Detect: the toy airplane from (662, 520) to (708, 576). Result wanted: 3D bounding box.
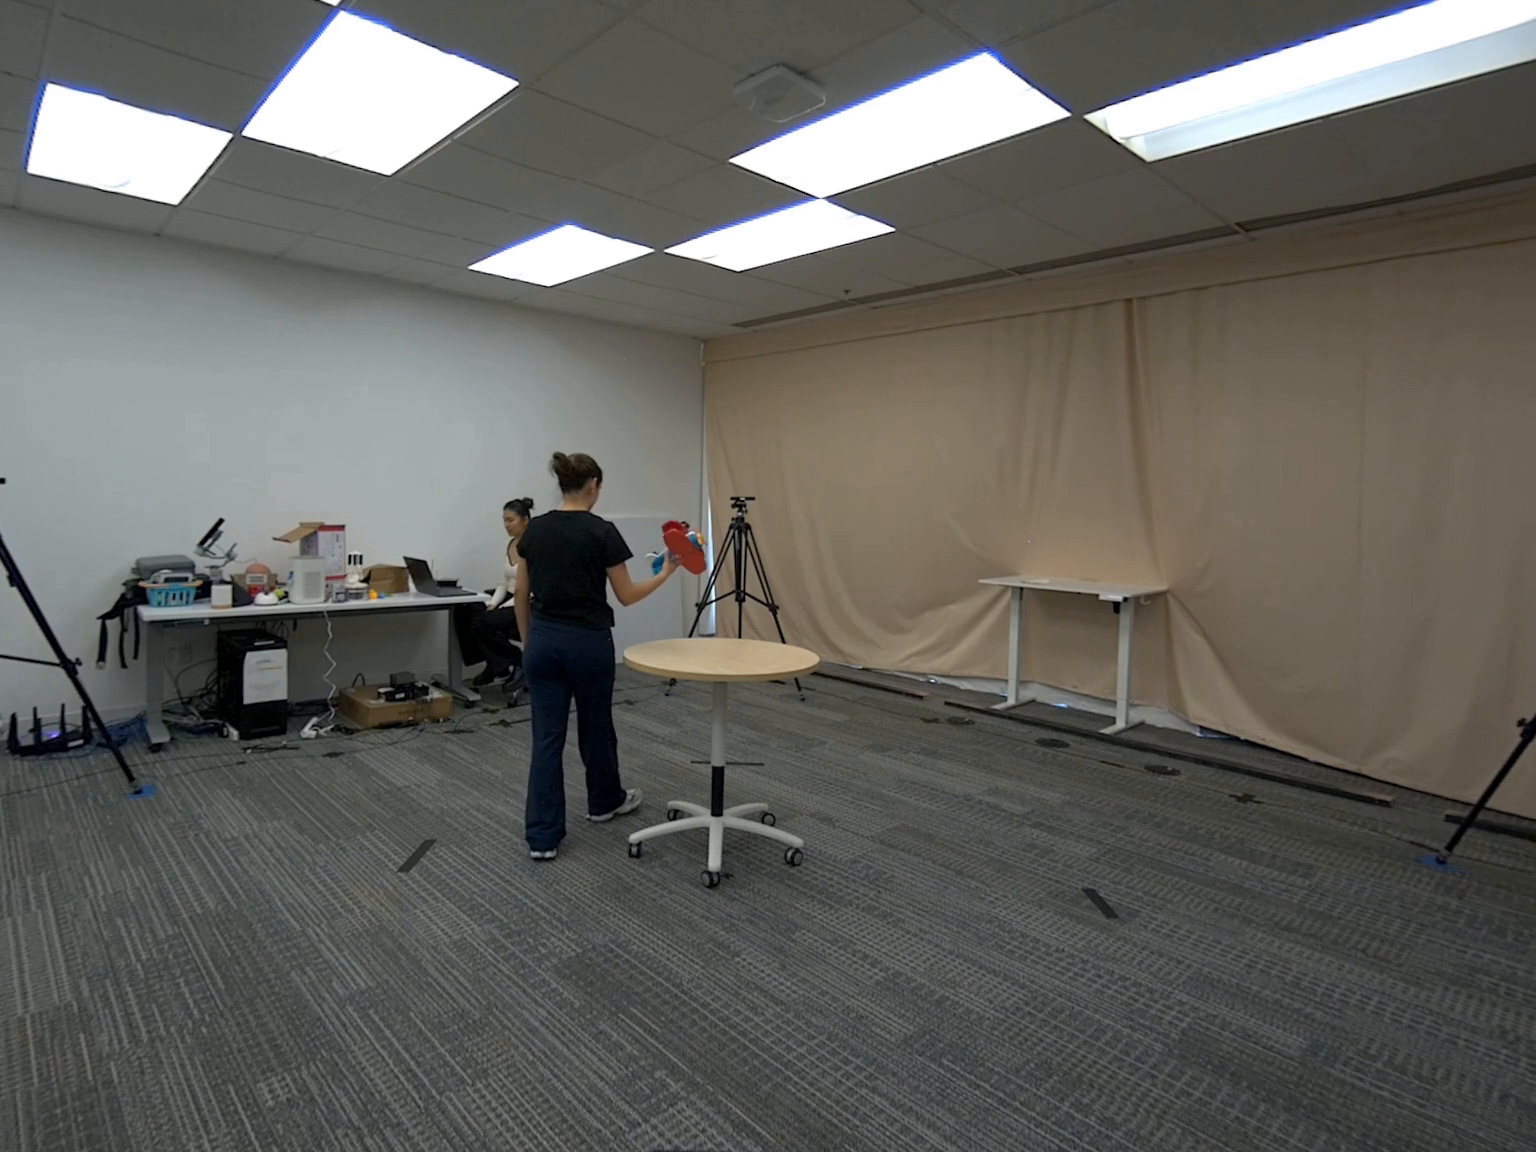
[{"bbox_3d":[-0.391,-0.091,3.578,0.245,0.258,0.161,20,16,-28],"label":"toy airplane"}]
